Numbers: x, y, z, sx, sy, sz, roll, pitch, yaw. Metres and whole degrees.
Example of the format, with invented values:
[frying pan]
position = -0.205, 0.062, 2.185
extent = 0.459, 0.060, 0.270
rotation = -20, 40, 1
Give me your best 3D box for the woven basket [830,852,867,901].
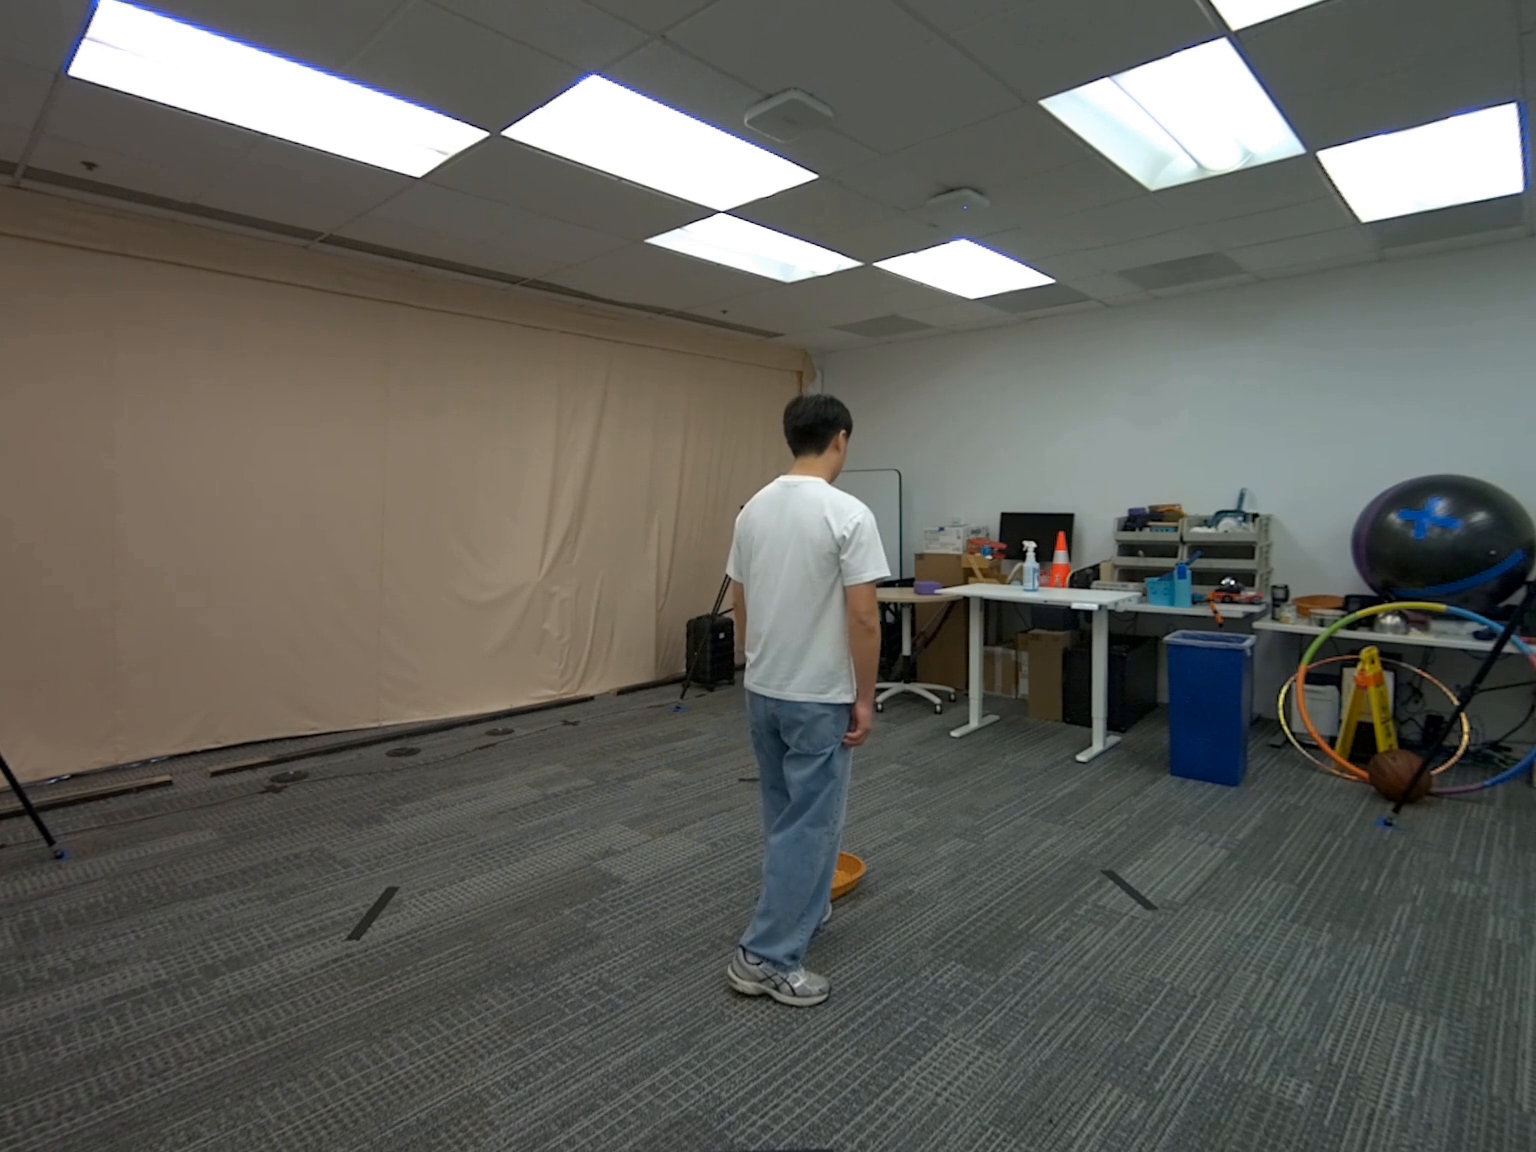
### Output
[woven basket]
position = 0.195, 1.094, 3.067
extent = 0.340, 0.073, 0.261
rotation = -5, 8, -44
